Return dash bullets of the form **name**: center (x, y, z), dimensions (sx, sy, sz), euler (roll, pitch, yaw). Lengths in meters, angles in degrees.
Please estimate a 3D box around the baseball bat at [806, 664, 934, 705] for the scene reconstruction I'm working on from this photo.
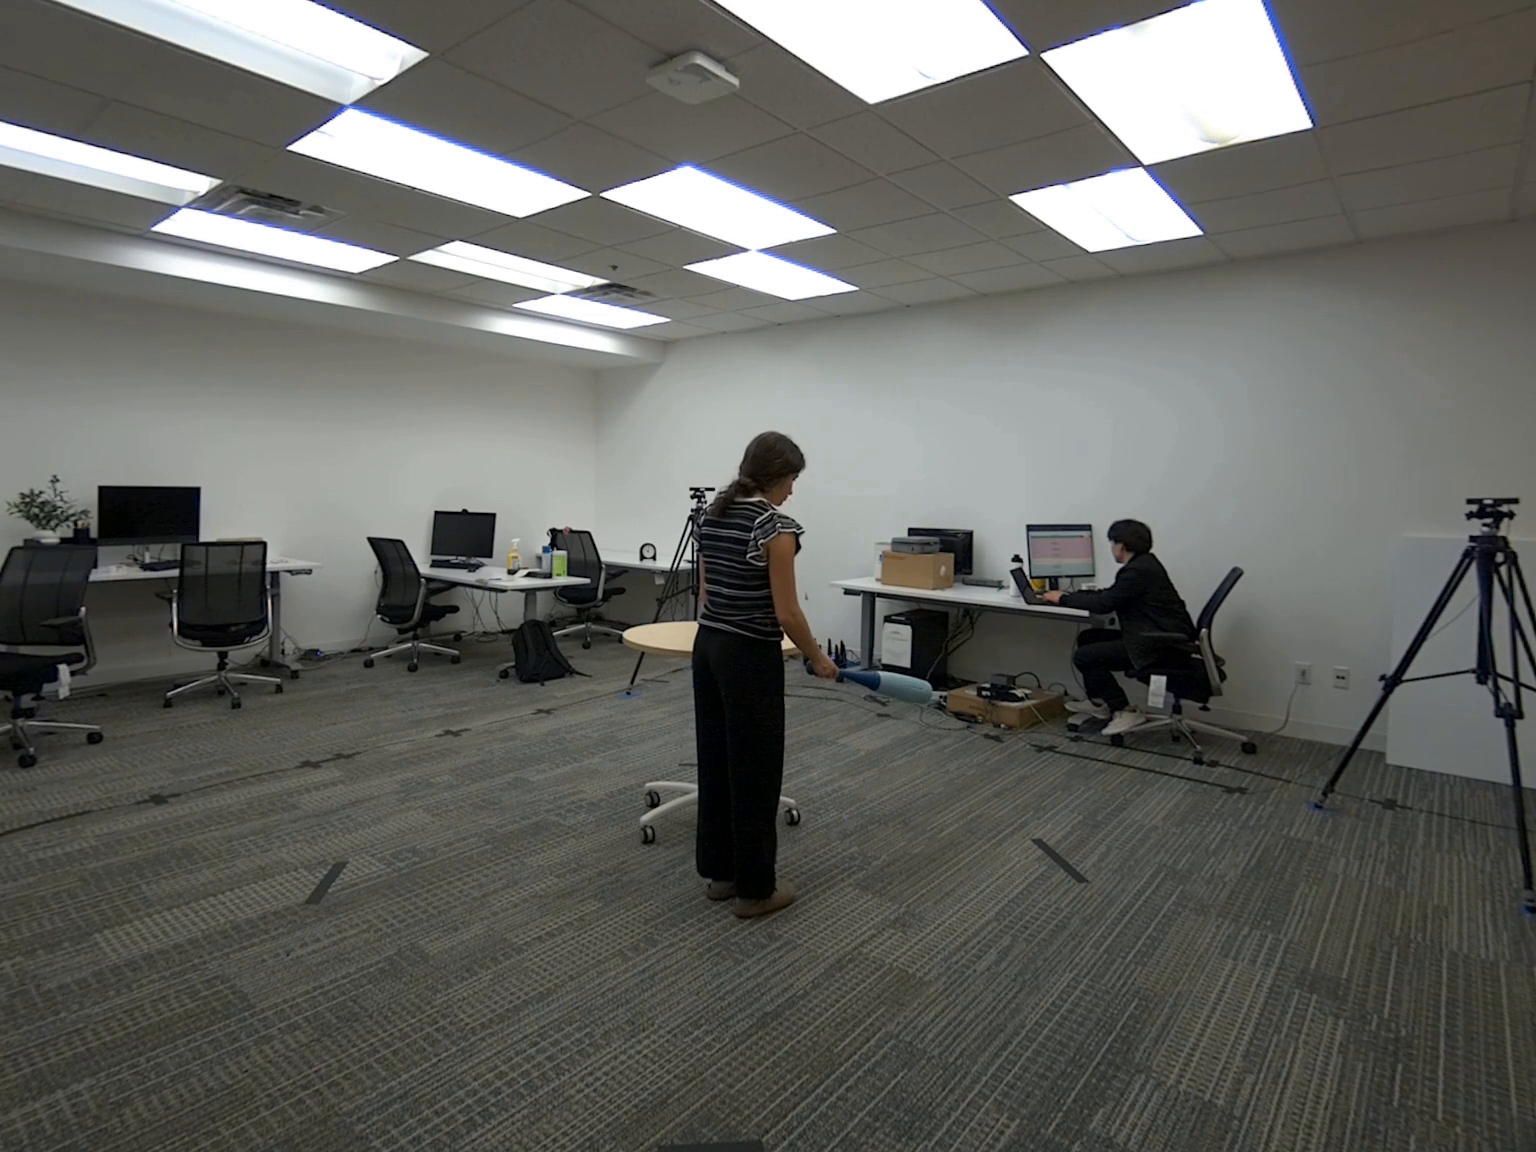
- **baseball bat**: center (0.351, 0.371, 2.988), dimensions (0.526, 0.089, 0.092), euler (14, -3, -28)
